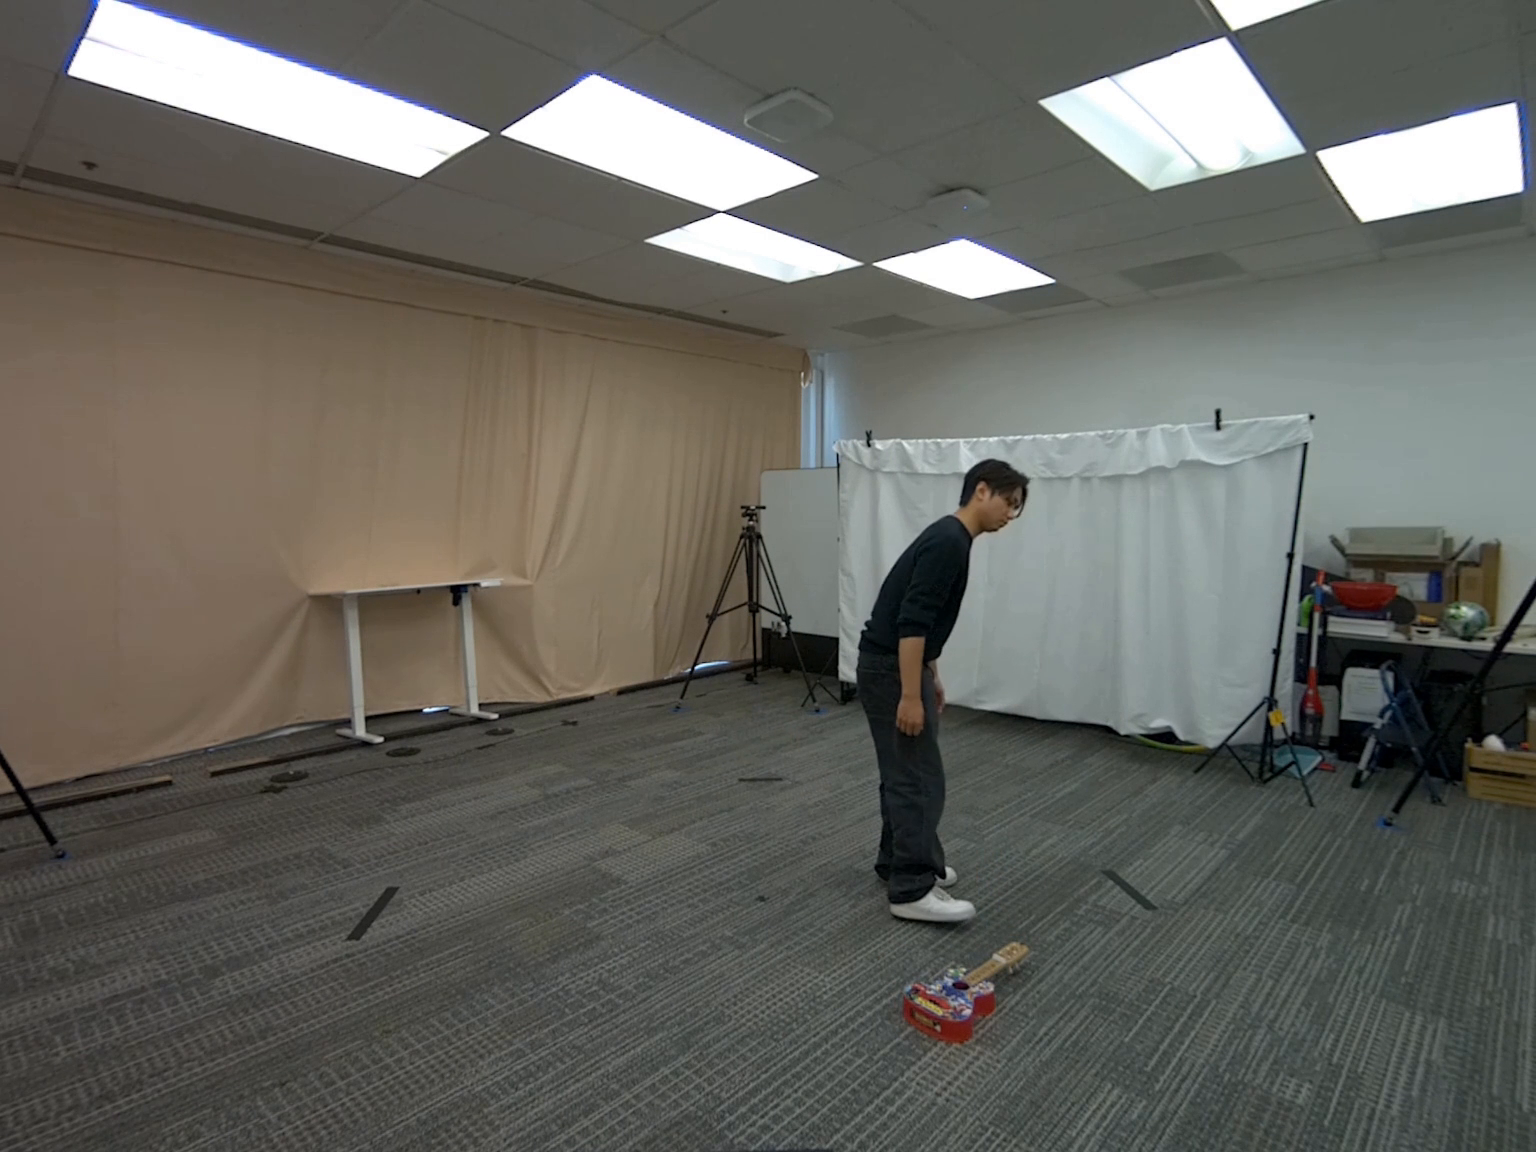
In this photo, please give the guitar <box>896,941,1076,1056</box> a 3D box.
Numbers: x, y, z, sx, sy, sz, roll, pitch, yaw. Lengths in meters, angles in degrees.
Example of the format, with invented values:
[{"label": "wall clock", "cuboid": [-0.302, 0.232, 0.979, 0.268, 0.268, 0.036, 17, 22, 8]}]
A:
[{"label": "guitar", "cuboid": [0.611, 1.163, 2.358, 0.484, 0.070, 0.199, -4, 6, -32]}]
